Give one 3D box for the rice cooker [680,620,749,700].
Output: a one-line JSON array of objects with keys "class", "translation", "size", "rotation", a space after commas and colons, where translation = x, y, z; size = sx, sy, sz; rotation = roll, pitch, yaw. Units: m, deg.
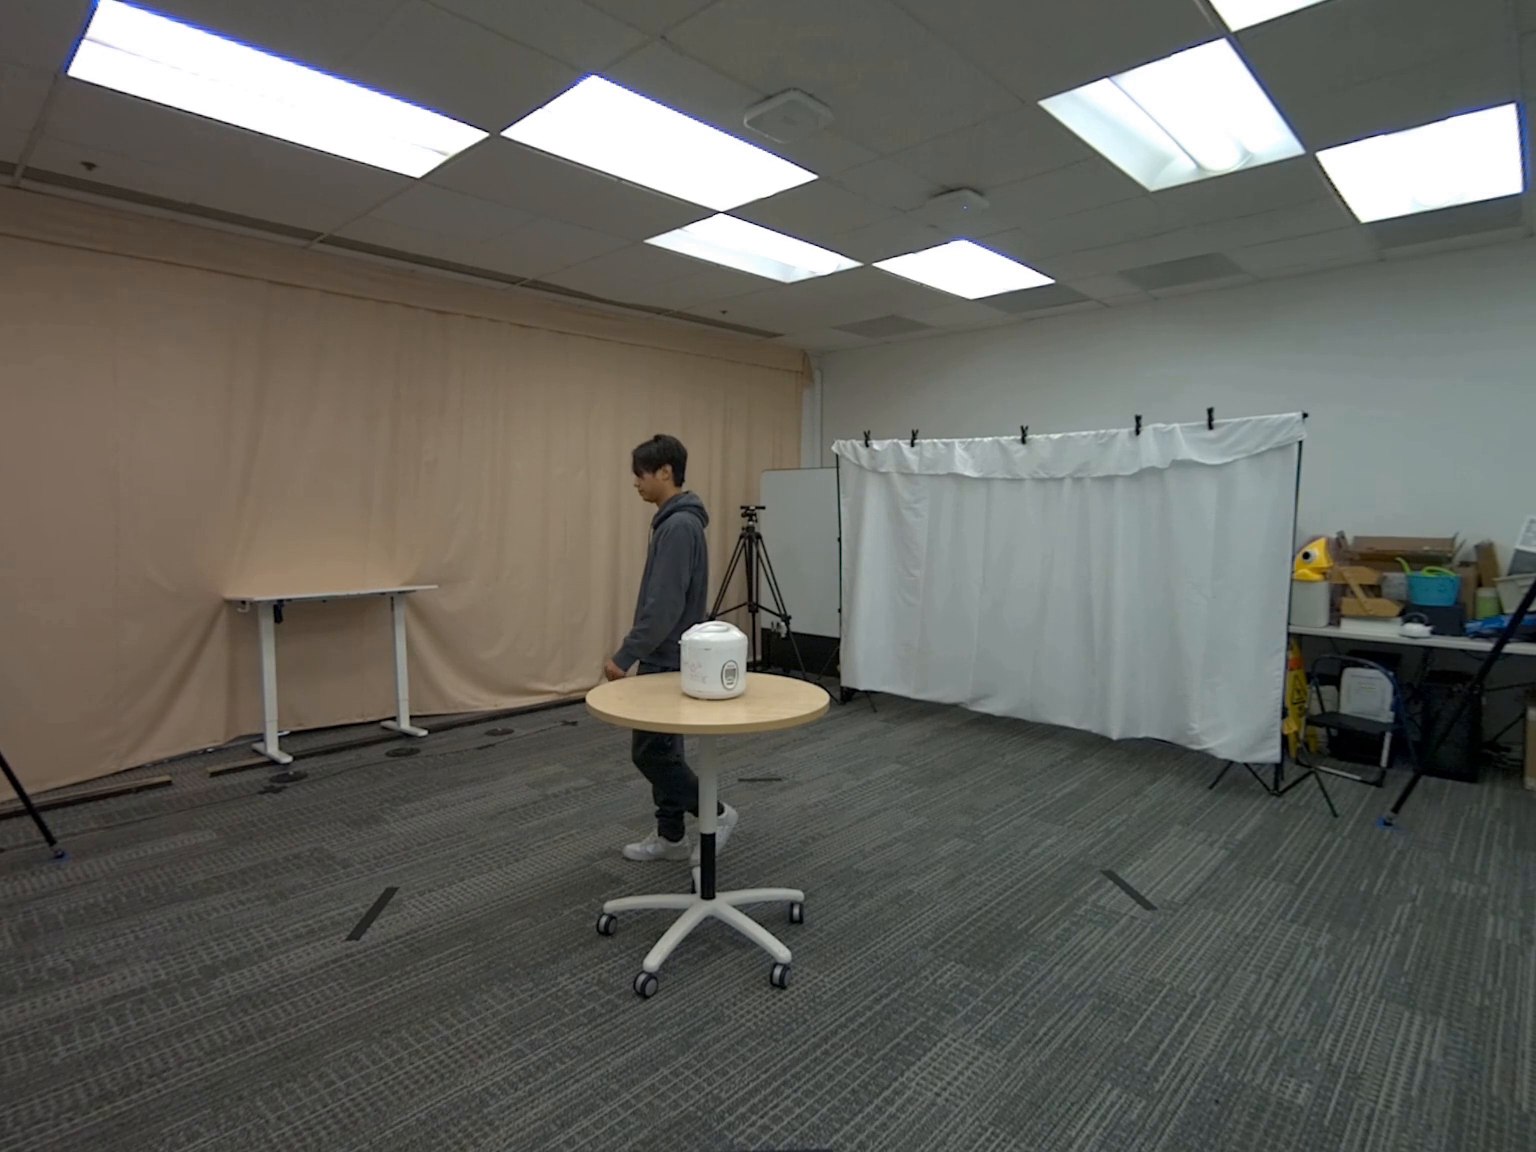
[{"class": "rice cooker", "translation": [-0.167, 0.261, 2.654], "size": [0.215, 0.232, 0.224], "rotation": [-3, 4, -30]}]
